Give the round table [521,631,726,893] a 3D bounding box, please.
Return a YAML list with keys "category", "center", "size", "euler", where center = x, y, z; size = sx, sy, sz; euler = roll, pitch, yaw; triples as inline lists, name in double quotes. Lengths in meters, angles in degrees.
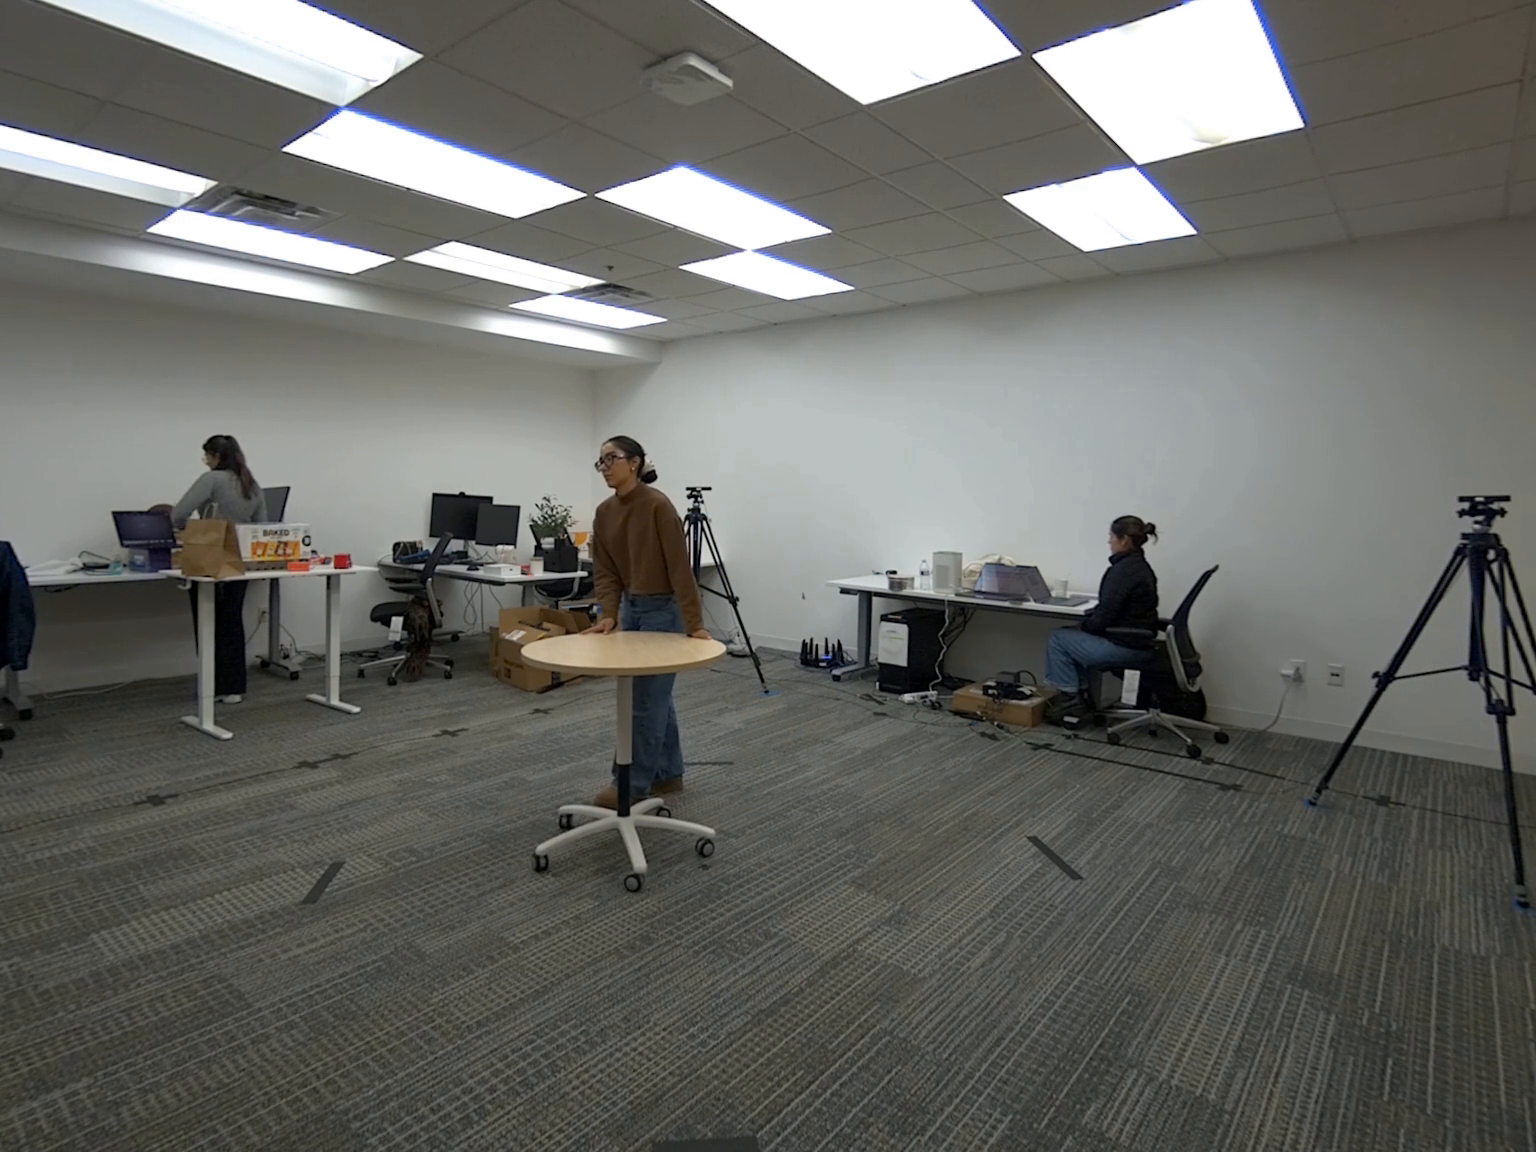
- category: "round table"
  center: [-0.575, 0.655, 3.220]
  size: [0.784, 0.785, 0.788]
  euler: [1, 3, -2]
